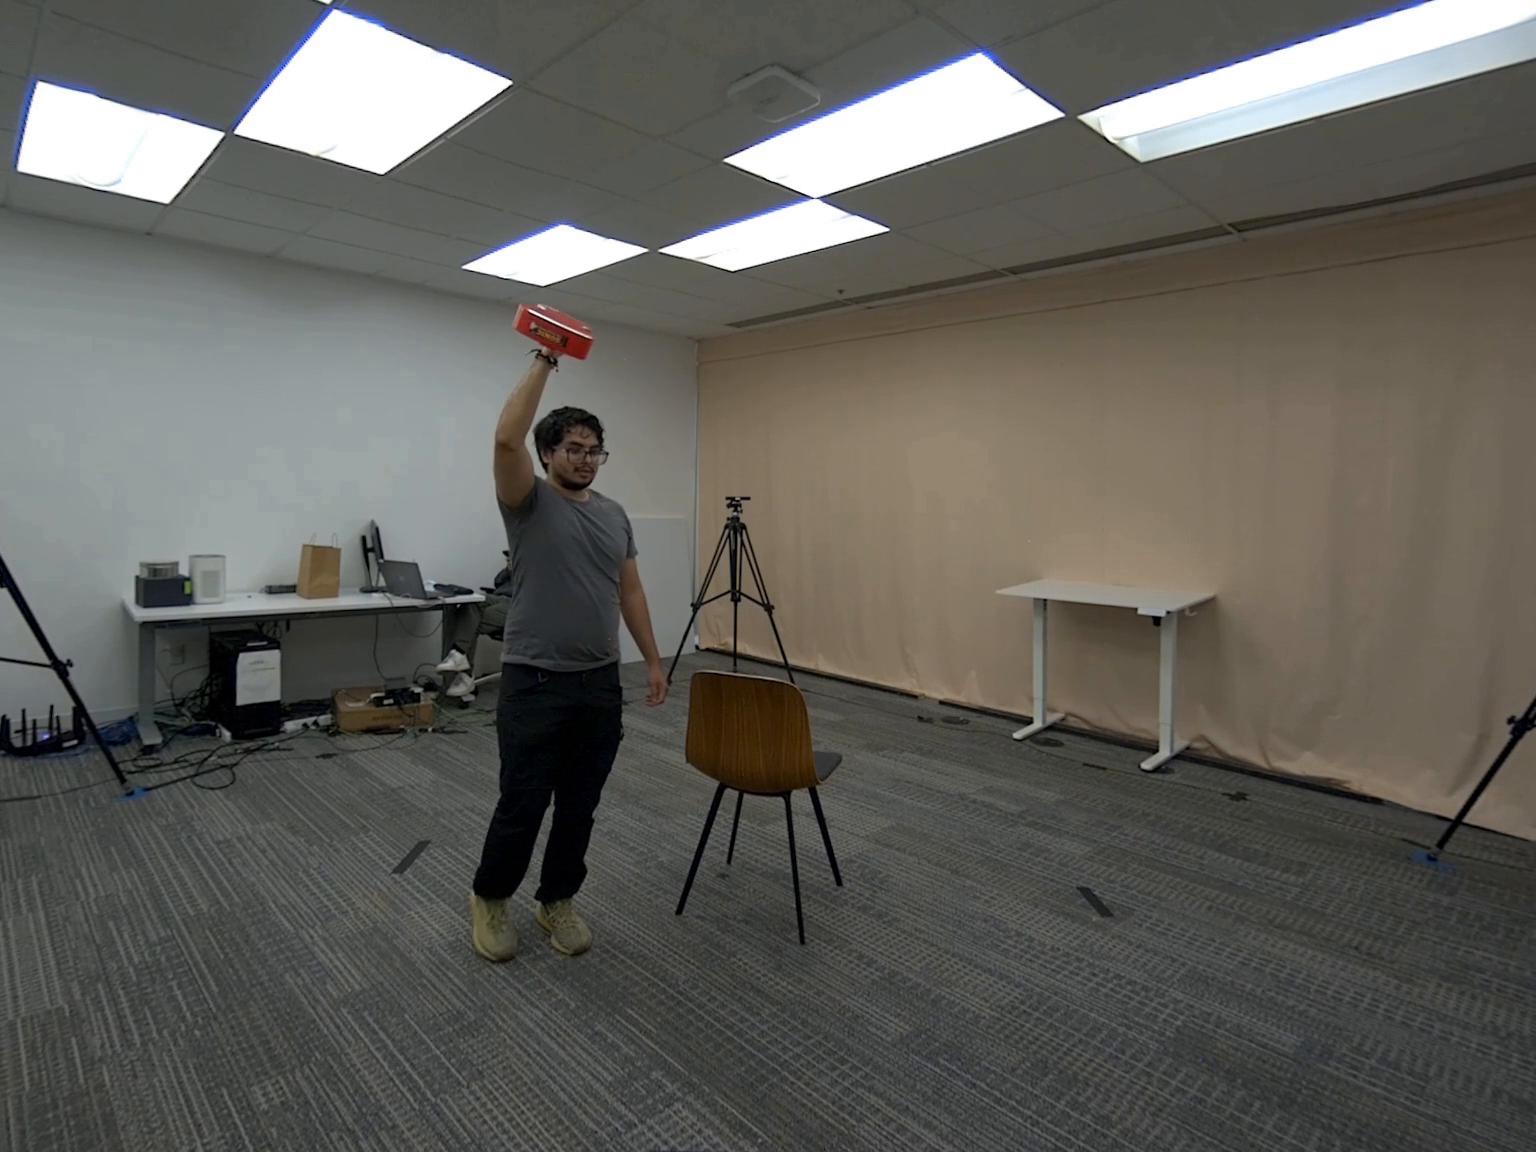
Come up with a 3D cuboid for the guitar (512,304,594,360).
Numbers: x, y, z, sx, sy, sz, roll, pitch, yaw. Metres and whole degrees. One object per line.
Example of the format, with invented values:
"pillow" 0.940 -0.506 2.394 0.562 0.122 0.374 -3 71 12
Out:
"guitar" -0.582 -0.668 2.229 0.189 0.070 0.510 18 17 -22
